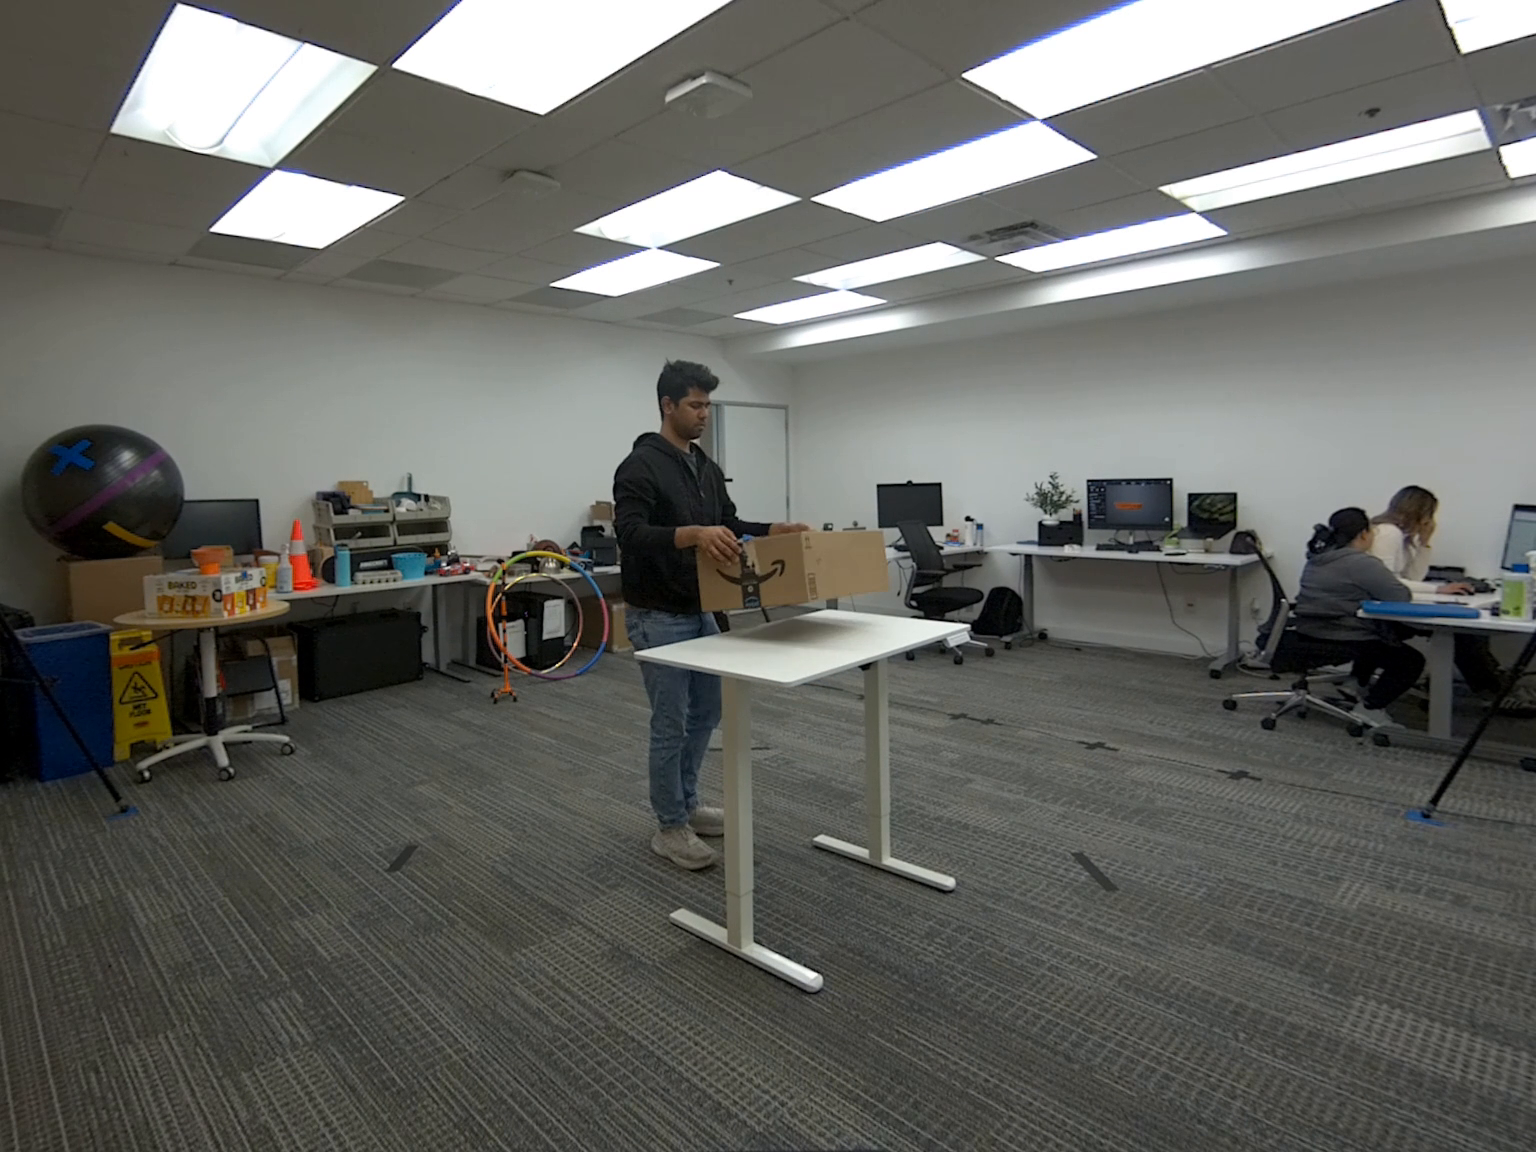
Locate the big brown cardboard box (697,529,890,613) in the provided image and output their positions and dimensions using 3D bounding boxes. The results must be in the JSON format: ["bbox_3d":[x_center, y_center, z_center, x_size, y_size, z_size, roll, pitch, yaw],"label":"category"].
[{"bbox_3d":[0.097,-0.025,2.928,0.428,0.233,0.574,-6,0,35],"label":"big brown cardboard box"}]
